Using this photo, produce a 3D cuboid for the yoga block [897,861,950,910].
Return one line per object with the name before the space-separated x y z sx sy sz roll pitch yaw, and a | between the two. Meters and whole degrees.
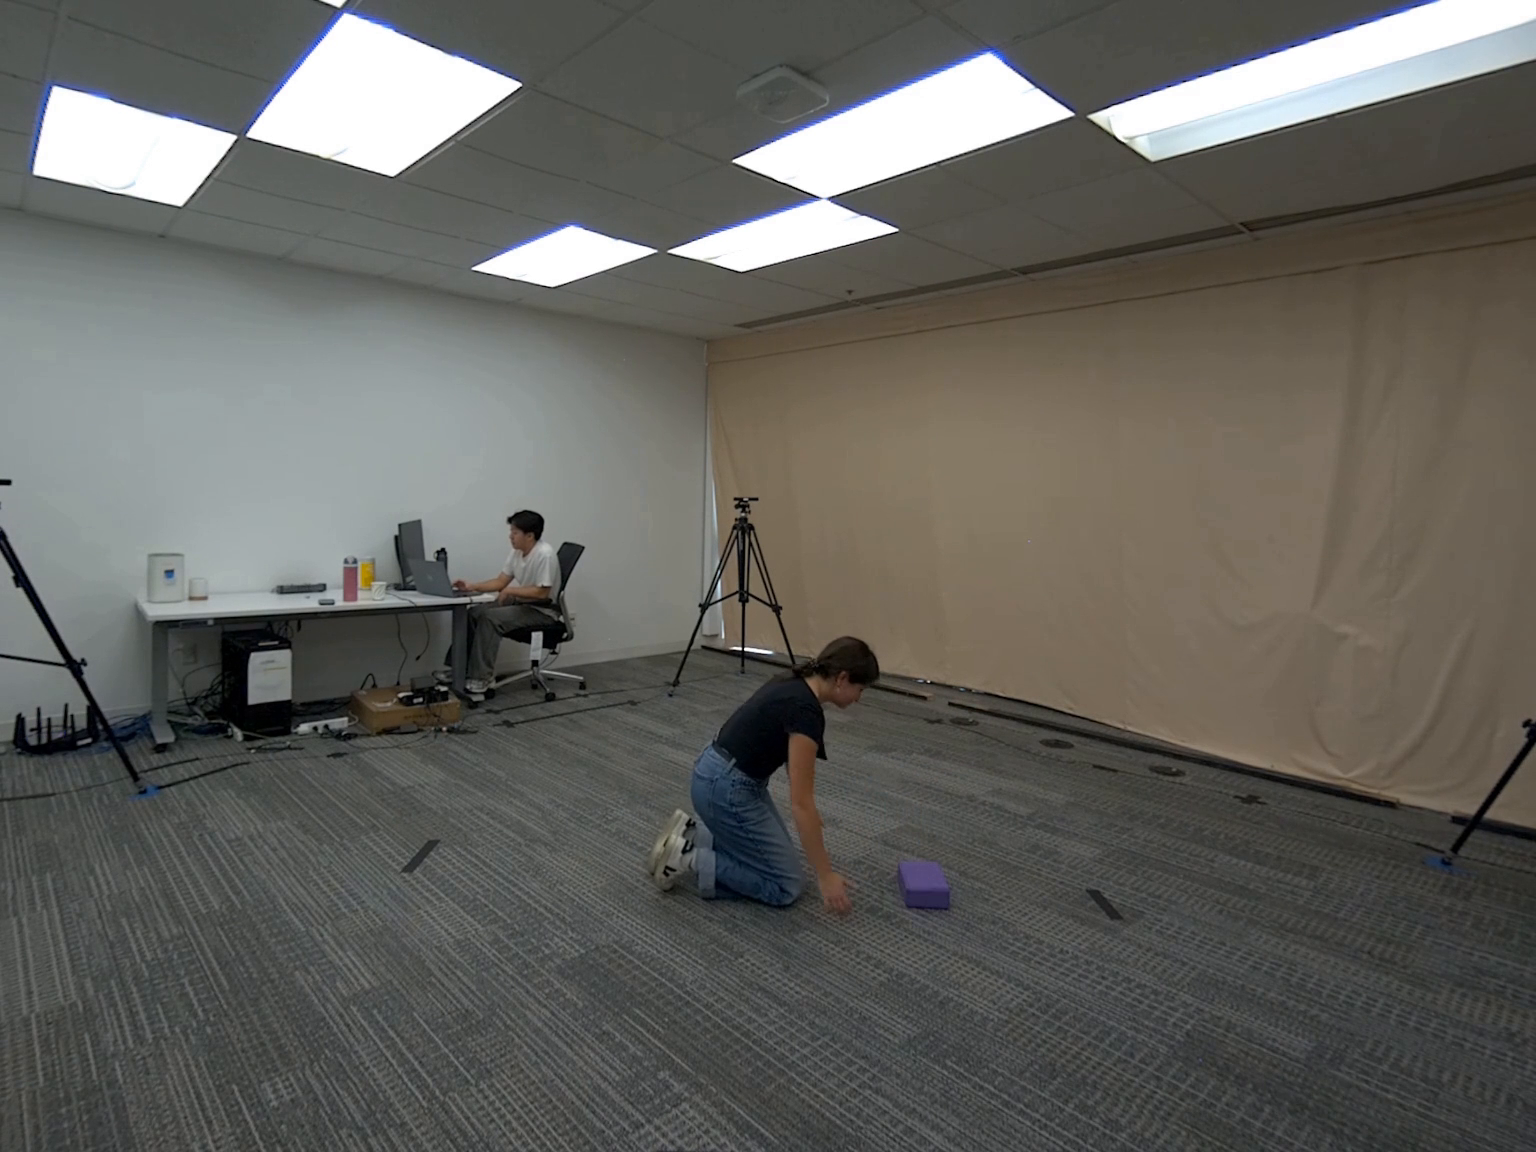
yoga block | 0.540 1.095 2.992 0.149 0.076 0.229 0 4 3
